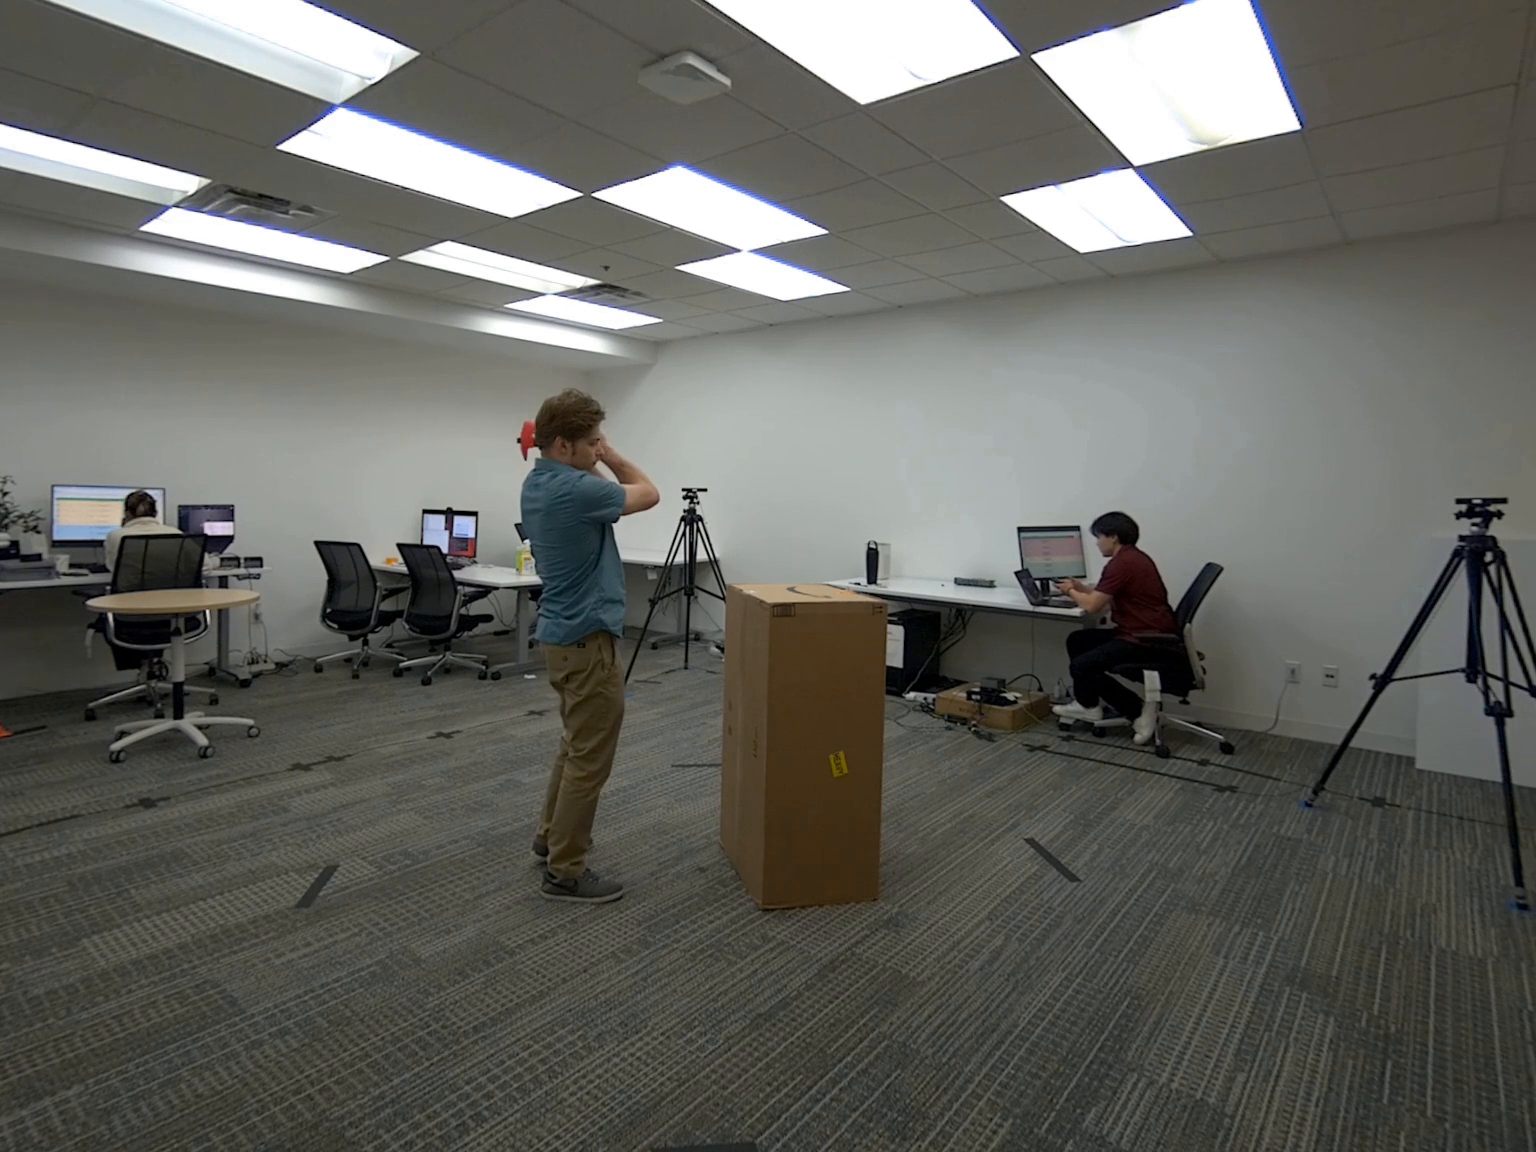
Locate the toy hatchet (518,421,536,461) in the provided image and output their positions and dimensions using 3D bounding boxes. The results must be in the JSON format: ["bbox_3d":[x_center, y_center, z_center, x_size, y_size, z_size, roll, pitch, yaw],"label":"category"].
[{"bbox_3d":[-0.725,-0.495,2.893,0.268,0.130,0.030,-18,9,-9],"label":"toy hatchet"}]
